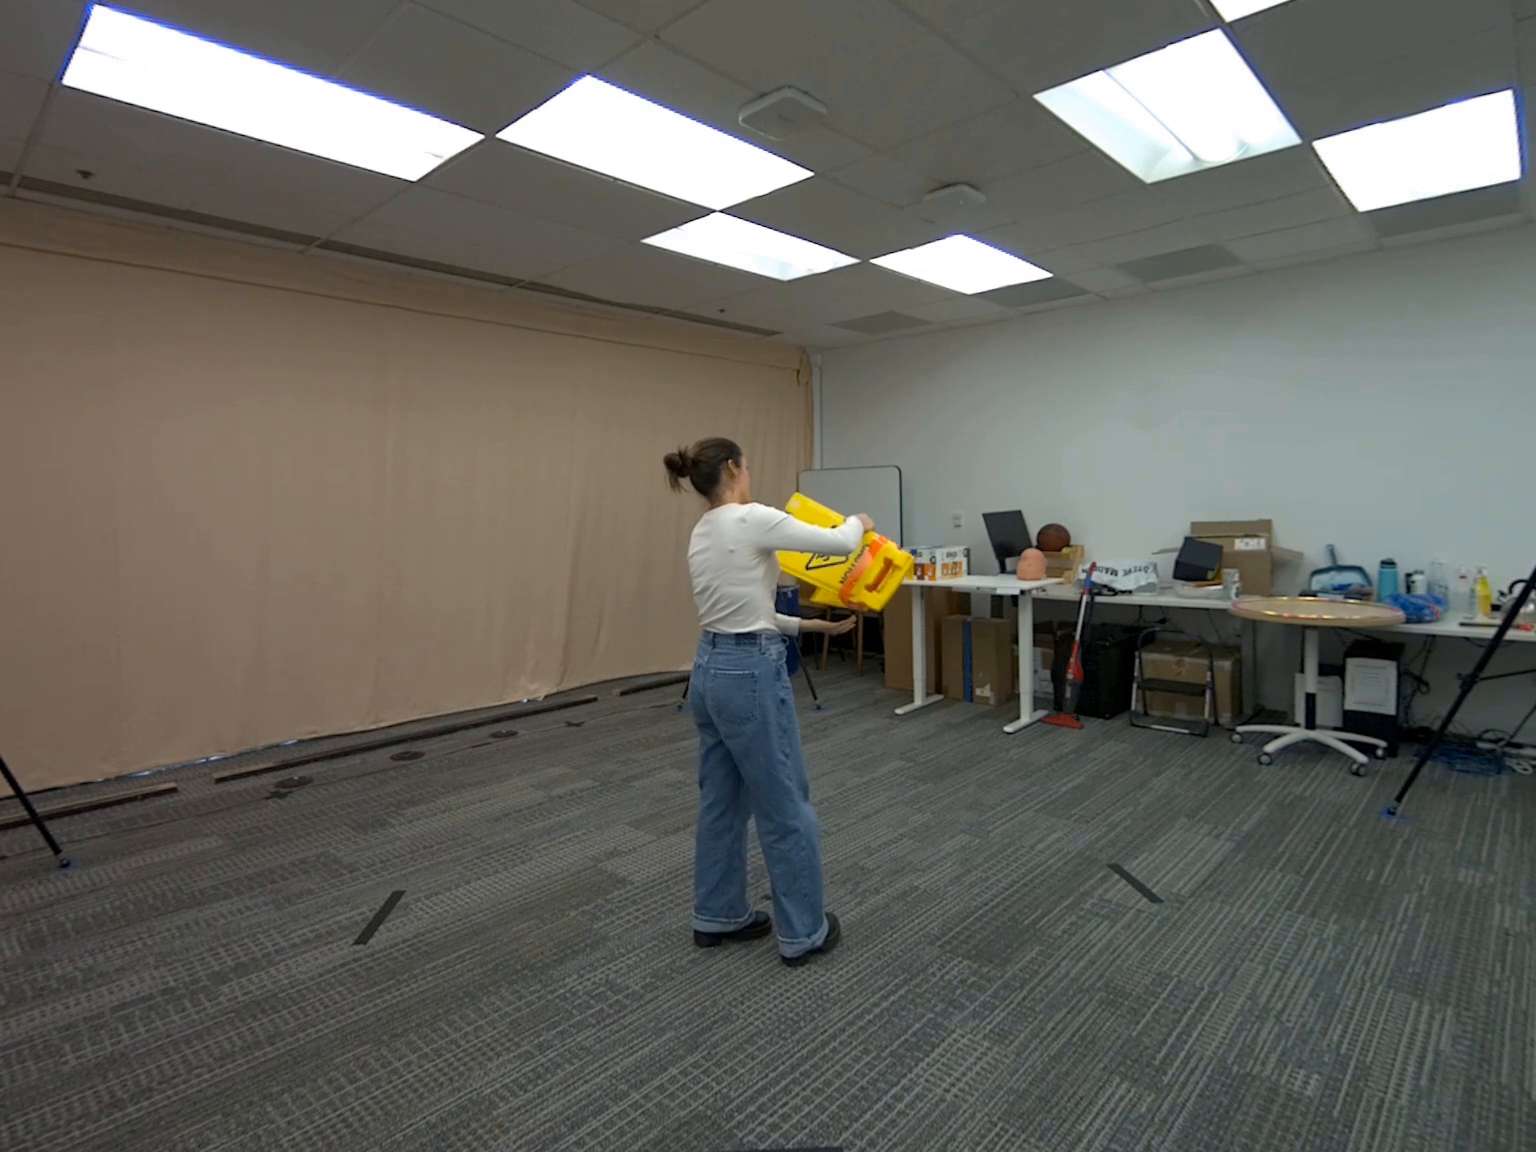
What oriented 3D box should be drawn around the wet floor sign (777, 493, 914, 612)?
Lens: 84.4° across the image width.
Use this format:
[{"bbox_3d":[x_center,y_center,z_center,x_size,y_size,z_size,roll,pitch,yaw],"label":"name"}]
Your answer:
[{"bbox_3d":[0.257,-0.038,2.783,0.282,0.282,0.663,36,-3,-24],"label":"wet floor sign"}]
